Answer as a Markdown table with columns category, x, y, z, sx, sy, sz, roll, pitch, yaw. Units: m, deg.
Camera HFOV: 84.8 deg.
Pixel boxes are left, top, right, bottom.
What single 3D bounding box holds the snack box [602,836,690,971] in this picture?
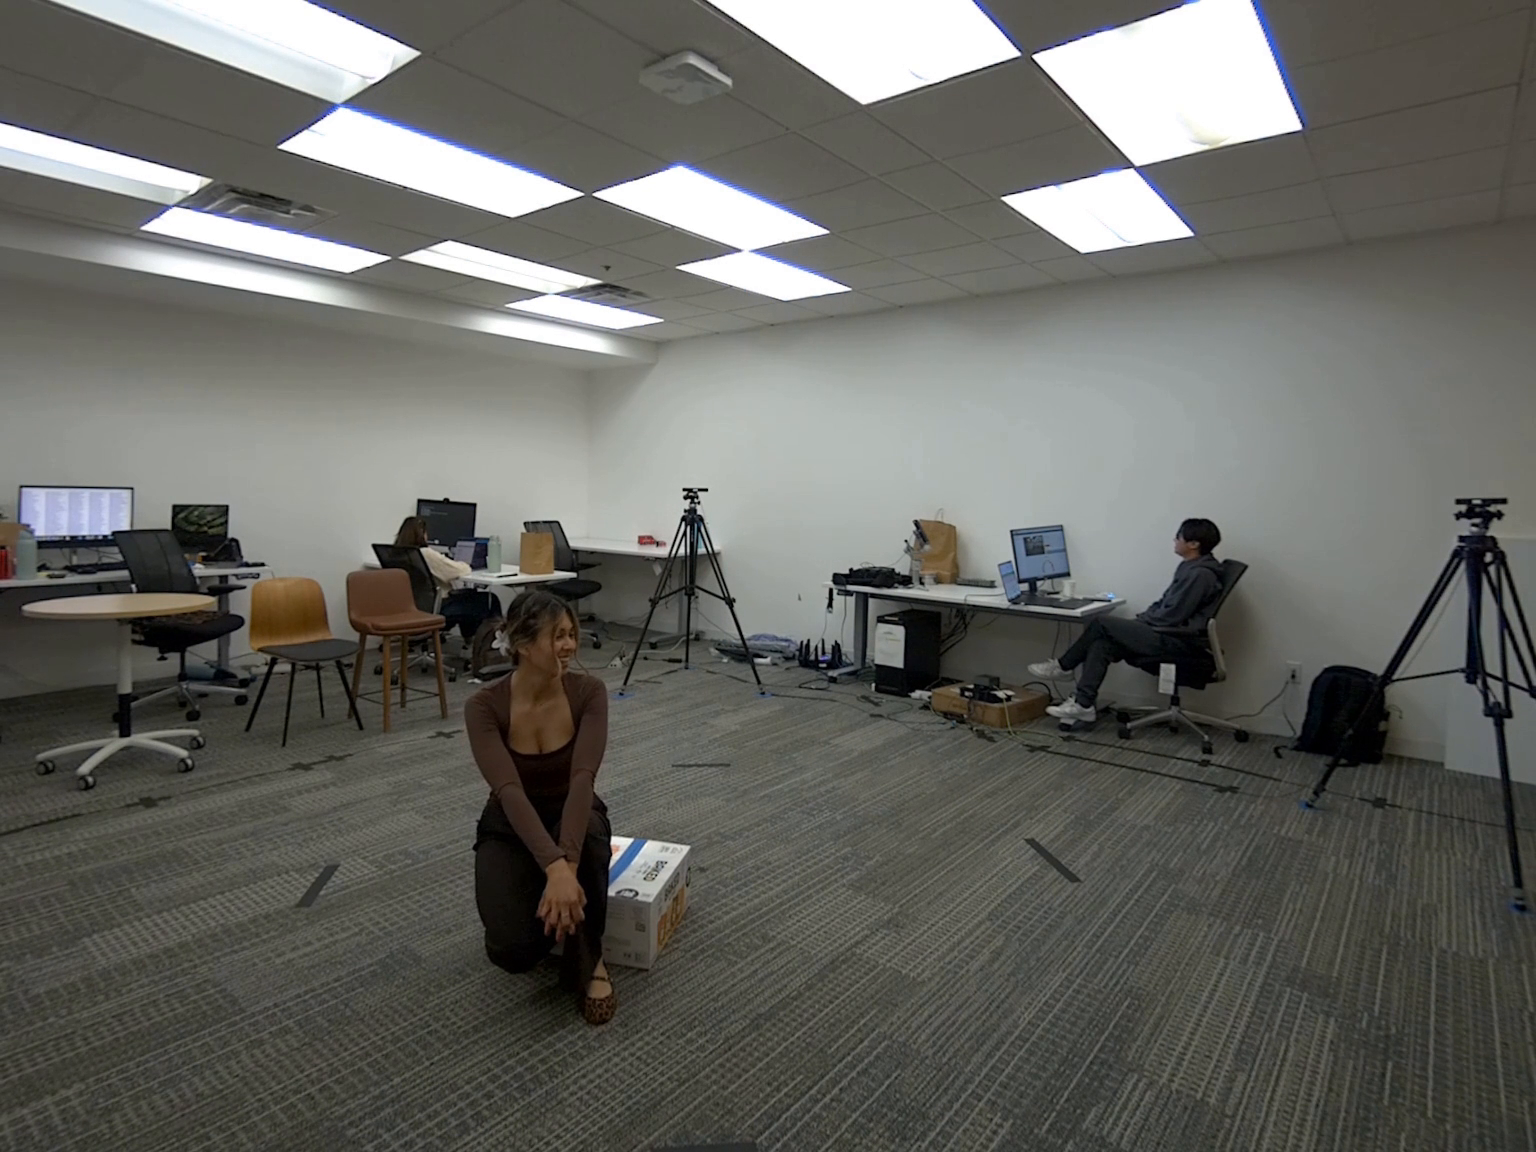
| category | x | y | z | sx | sy | sz | roll | pitch | yaw |
| --- | --- | --- | --- | --- | --- | --- | --- | --- | --- |
| snack box | -0.470 | 1.007 | 2.671 | 0.346 | 0.205 | 0.400 | 2 | 5 | 13 |
